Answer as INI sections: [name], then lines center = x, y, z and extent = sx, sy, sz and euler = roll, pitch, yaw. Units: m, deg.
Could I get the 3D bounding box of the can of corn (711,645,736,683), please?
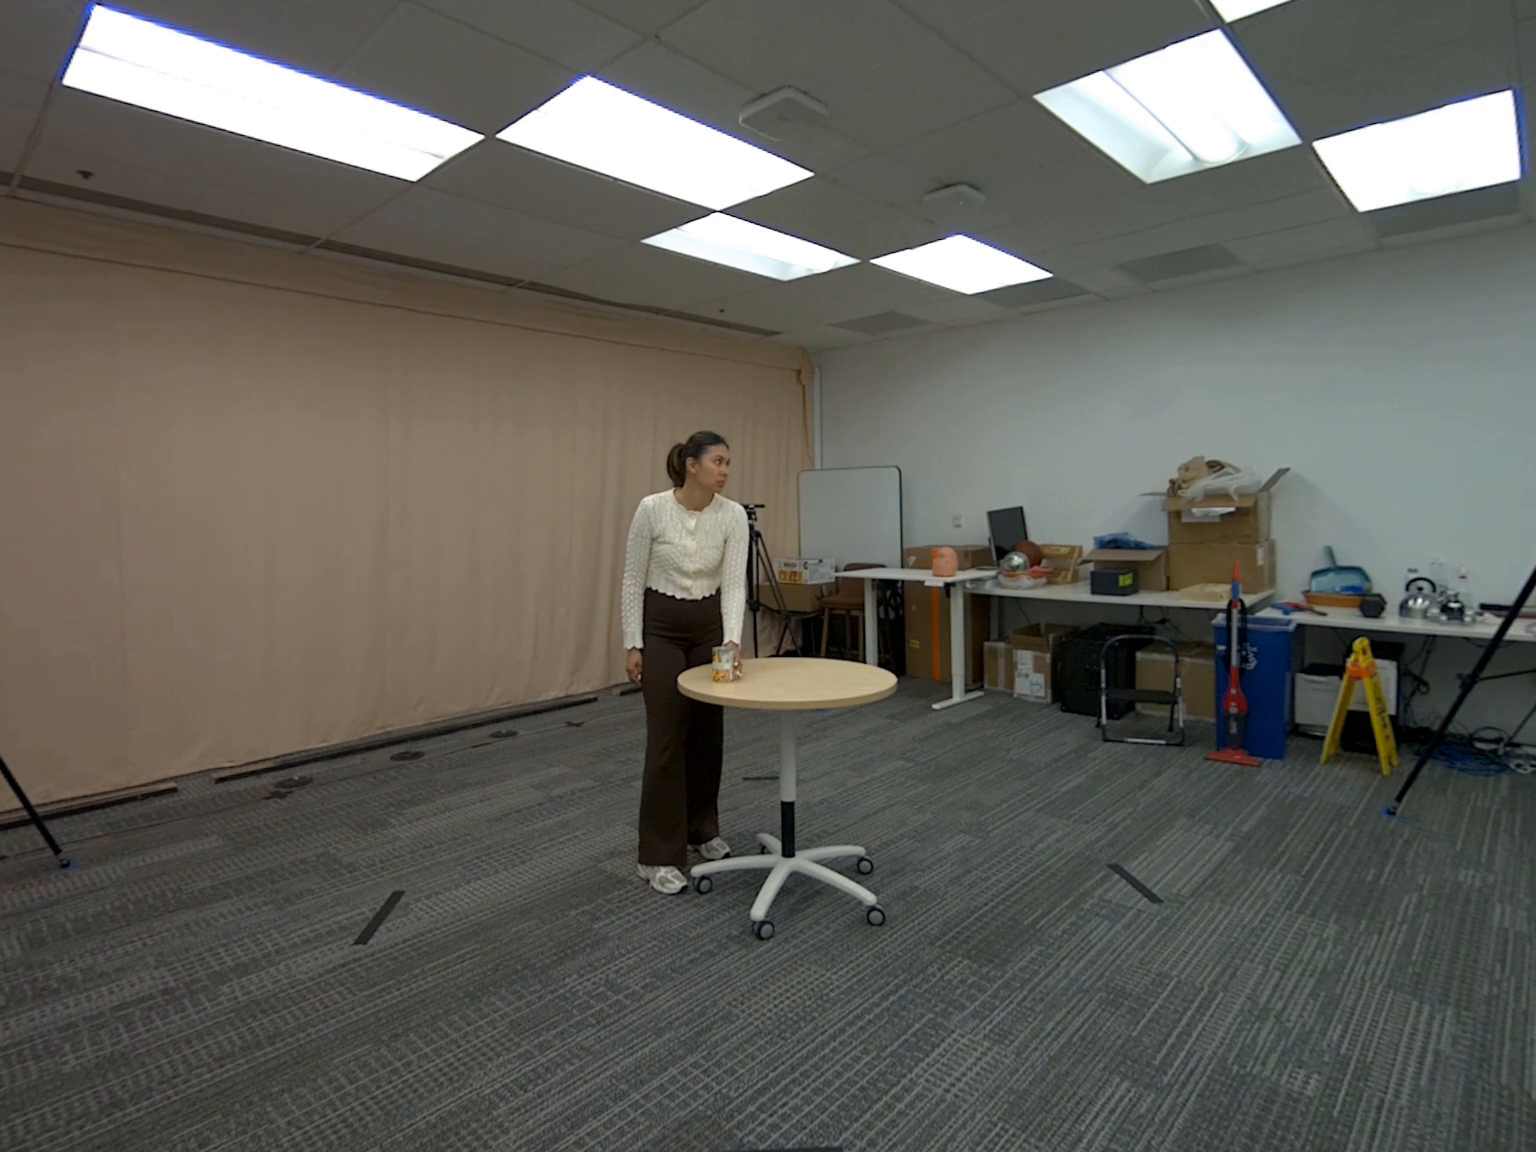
[can of corn]
center = -0.151, 0.302, 2.916
extent = 0.074, 0.111, 0.074
euler = -2, 4, -2
